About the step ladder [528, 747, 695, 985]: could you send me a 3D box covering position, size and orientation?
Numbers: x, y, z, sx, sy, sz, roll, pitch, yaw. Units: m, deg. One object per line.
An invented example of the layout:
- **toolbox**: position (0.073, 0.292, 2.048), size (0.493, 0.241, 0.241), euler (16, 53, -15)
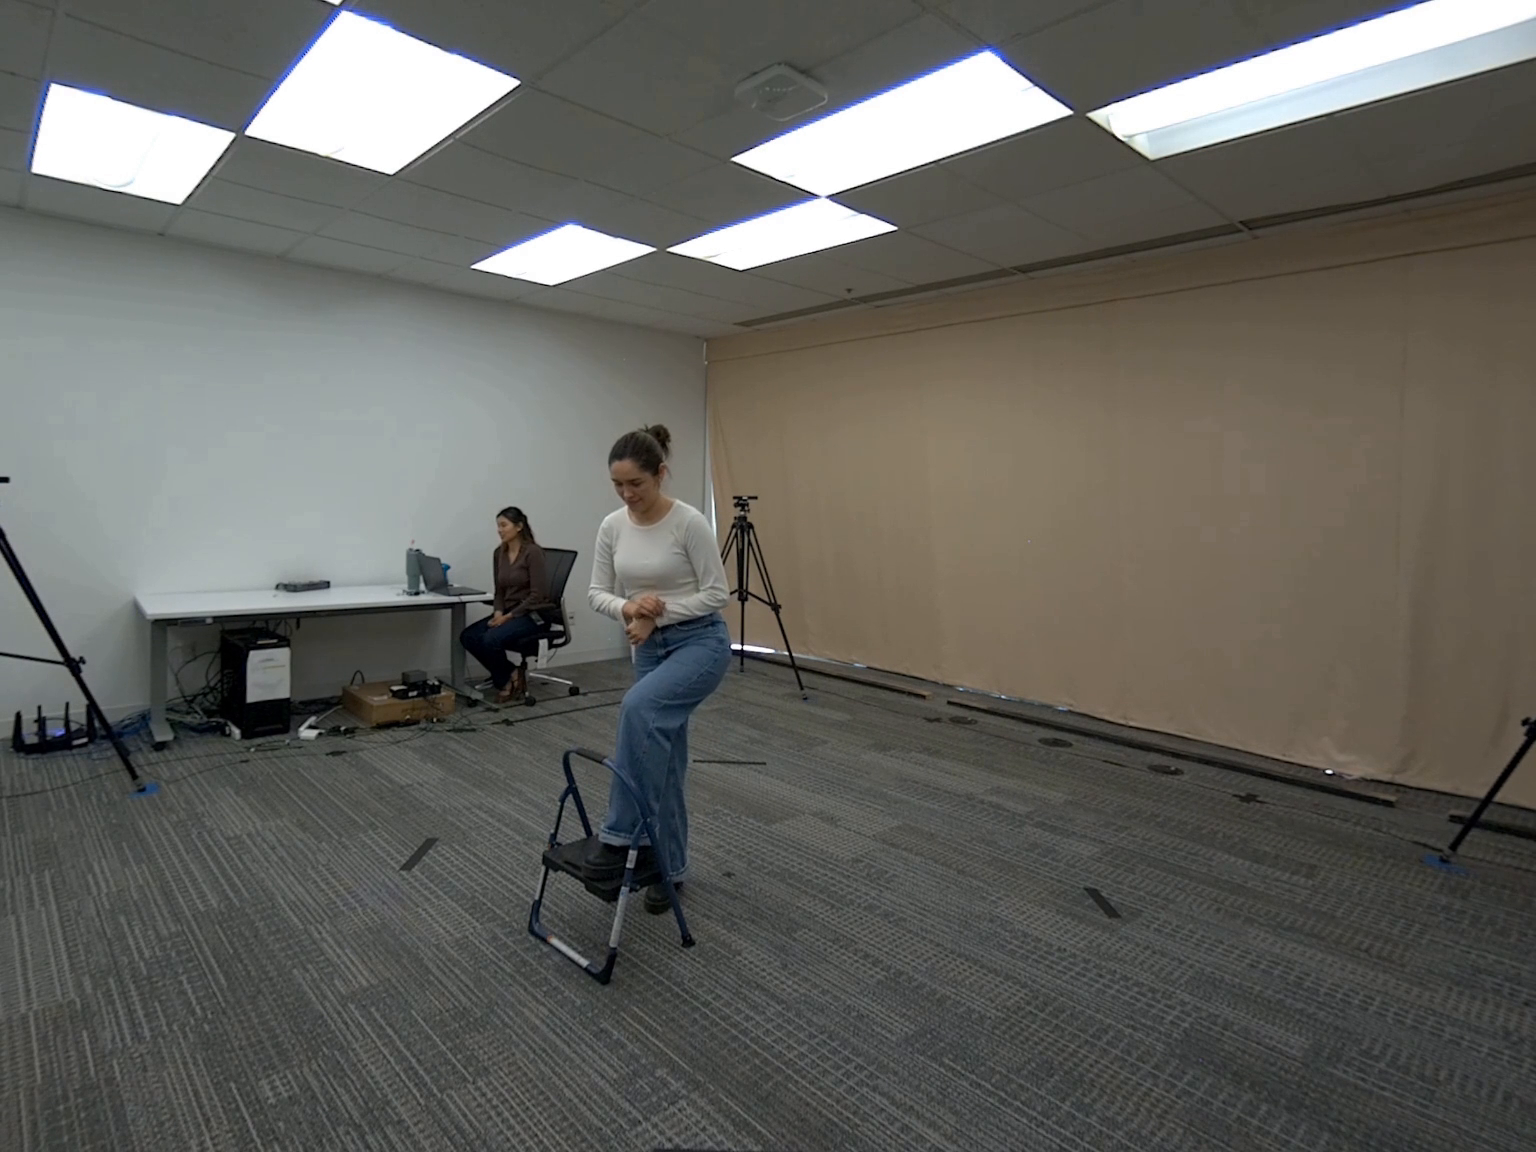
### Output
- **step ladder**: position (-0.502, 0.840, 2.624), size (0.441, 0.604, 0.341), euler (4, 5, 43)
